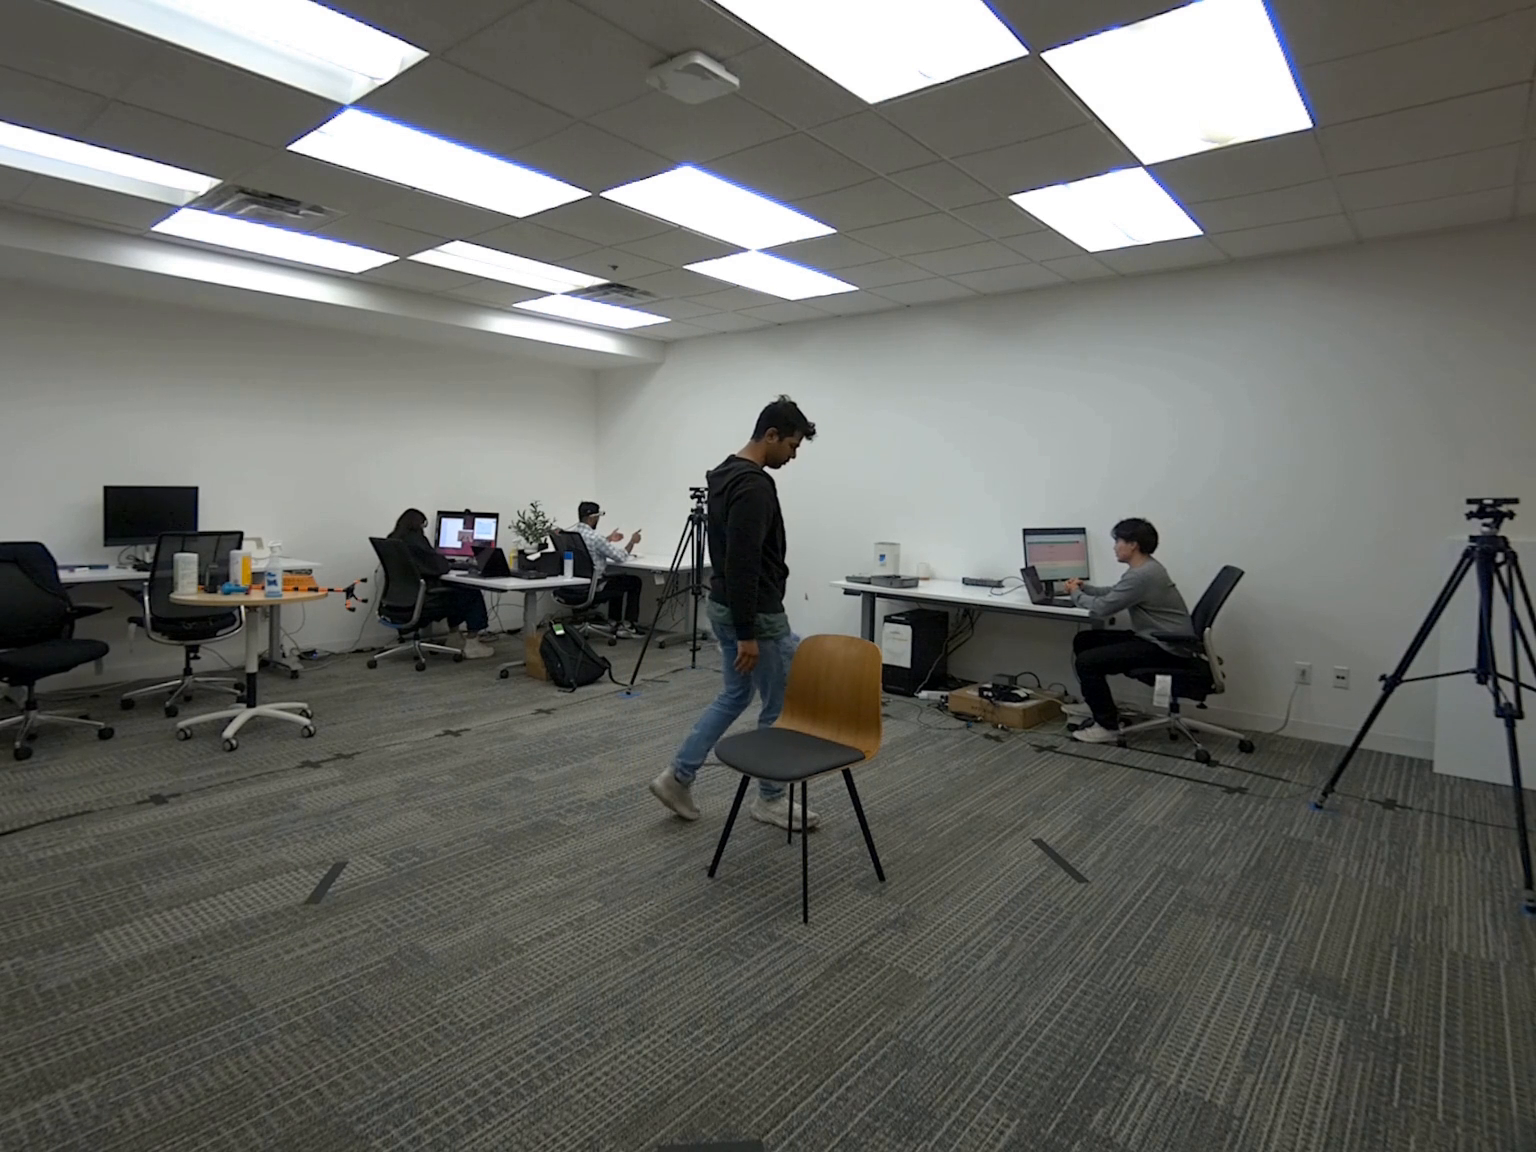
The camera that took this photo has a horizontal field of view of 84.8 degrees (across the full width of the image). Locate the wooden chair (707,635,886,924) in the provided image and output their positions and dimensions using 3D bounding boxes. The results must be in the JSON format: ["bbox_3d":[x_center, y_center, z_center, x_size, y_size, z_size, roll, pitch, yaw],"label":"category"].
[{"bbox_3d":[0.100,0.657,3.007,0.494,0.877,0.506,5,1,42],"label":"wooden chair"}]
